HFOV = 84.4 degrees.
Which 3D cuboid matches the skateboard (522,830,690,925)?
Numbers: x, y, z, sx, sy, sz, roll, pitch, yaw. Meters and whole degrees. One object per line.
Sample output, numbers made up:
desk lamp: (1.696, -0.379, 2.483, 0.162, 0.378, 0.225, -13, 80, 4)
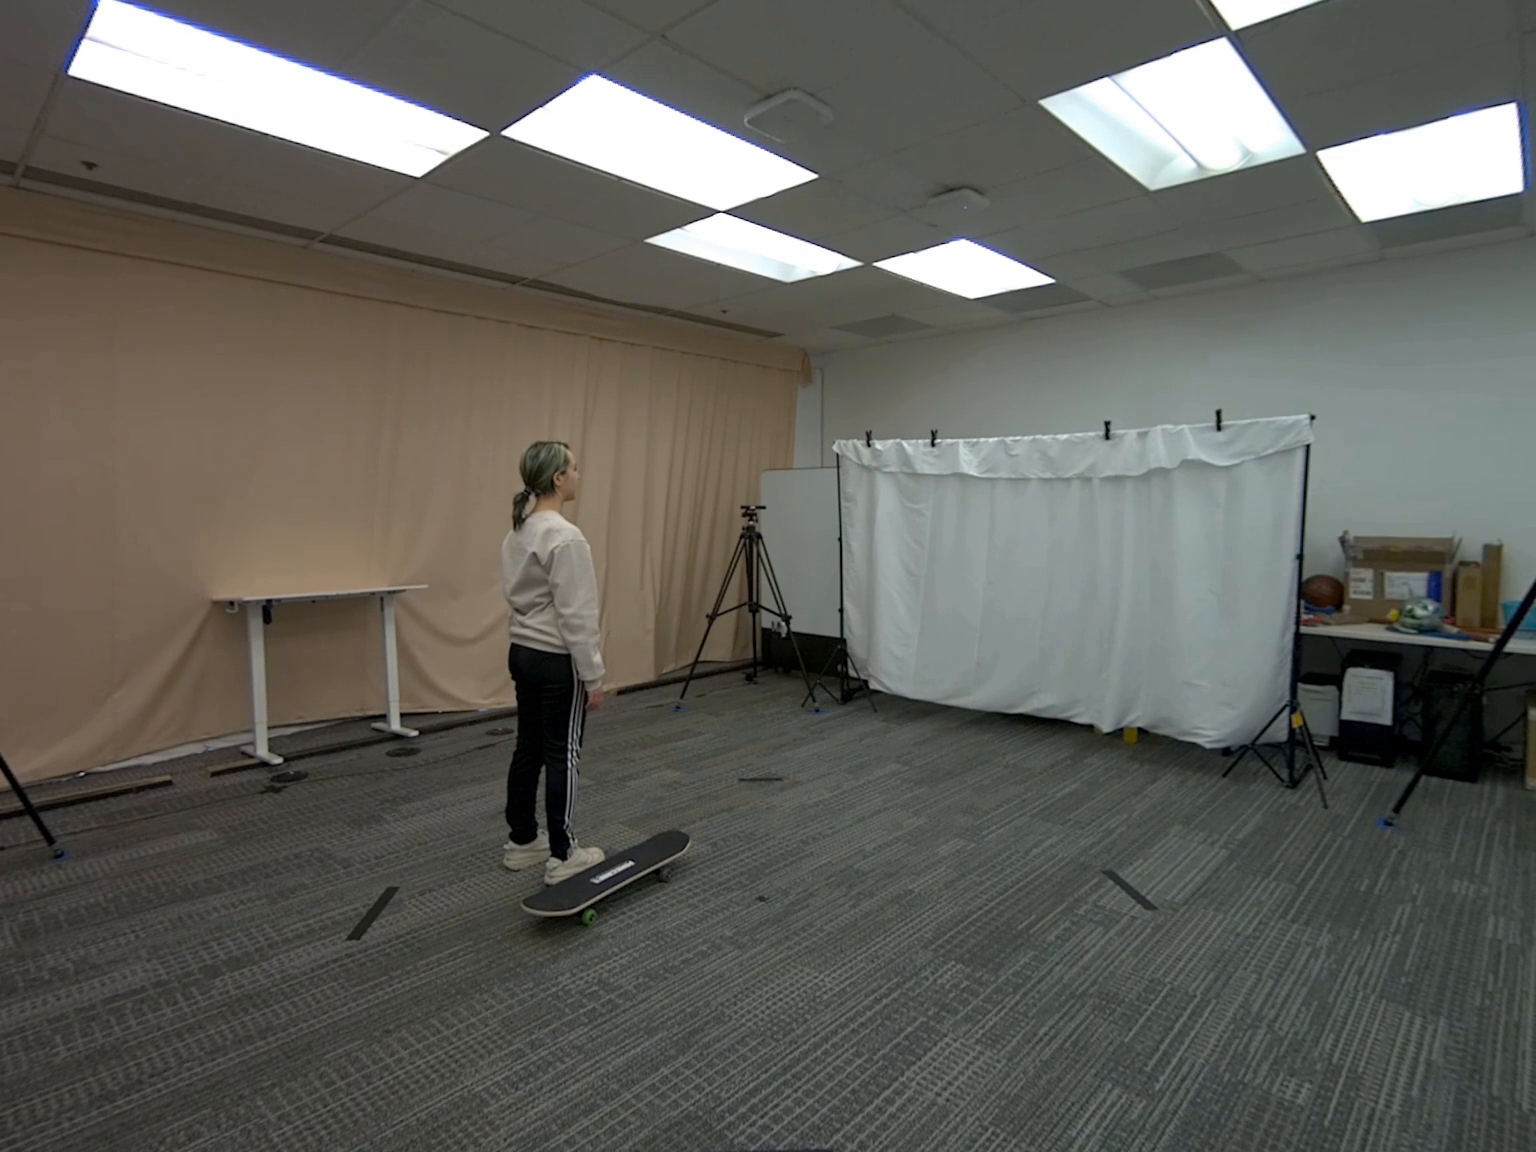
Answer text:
skateboard: (-0.559, 1.092, 3.011, 0.199, 0.110, 0.763, 1, 4, 34)
